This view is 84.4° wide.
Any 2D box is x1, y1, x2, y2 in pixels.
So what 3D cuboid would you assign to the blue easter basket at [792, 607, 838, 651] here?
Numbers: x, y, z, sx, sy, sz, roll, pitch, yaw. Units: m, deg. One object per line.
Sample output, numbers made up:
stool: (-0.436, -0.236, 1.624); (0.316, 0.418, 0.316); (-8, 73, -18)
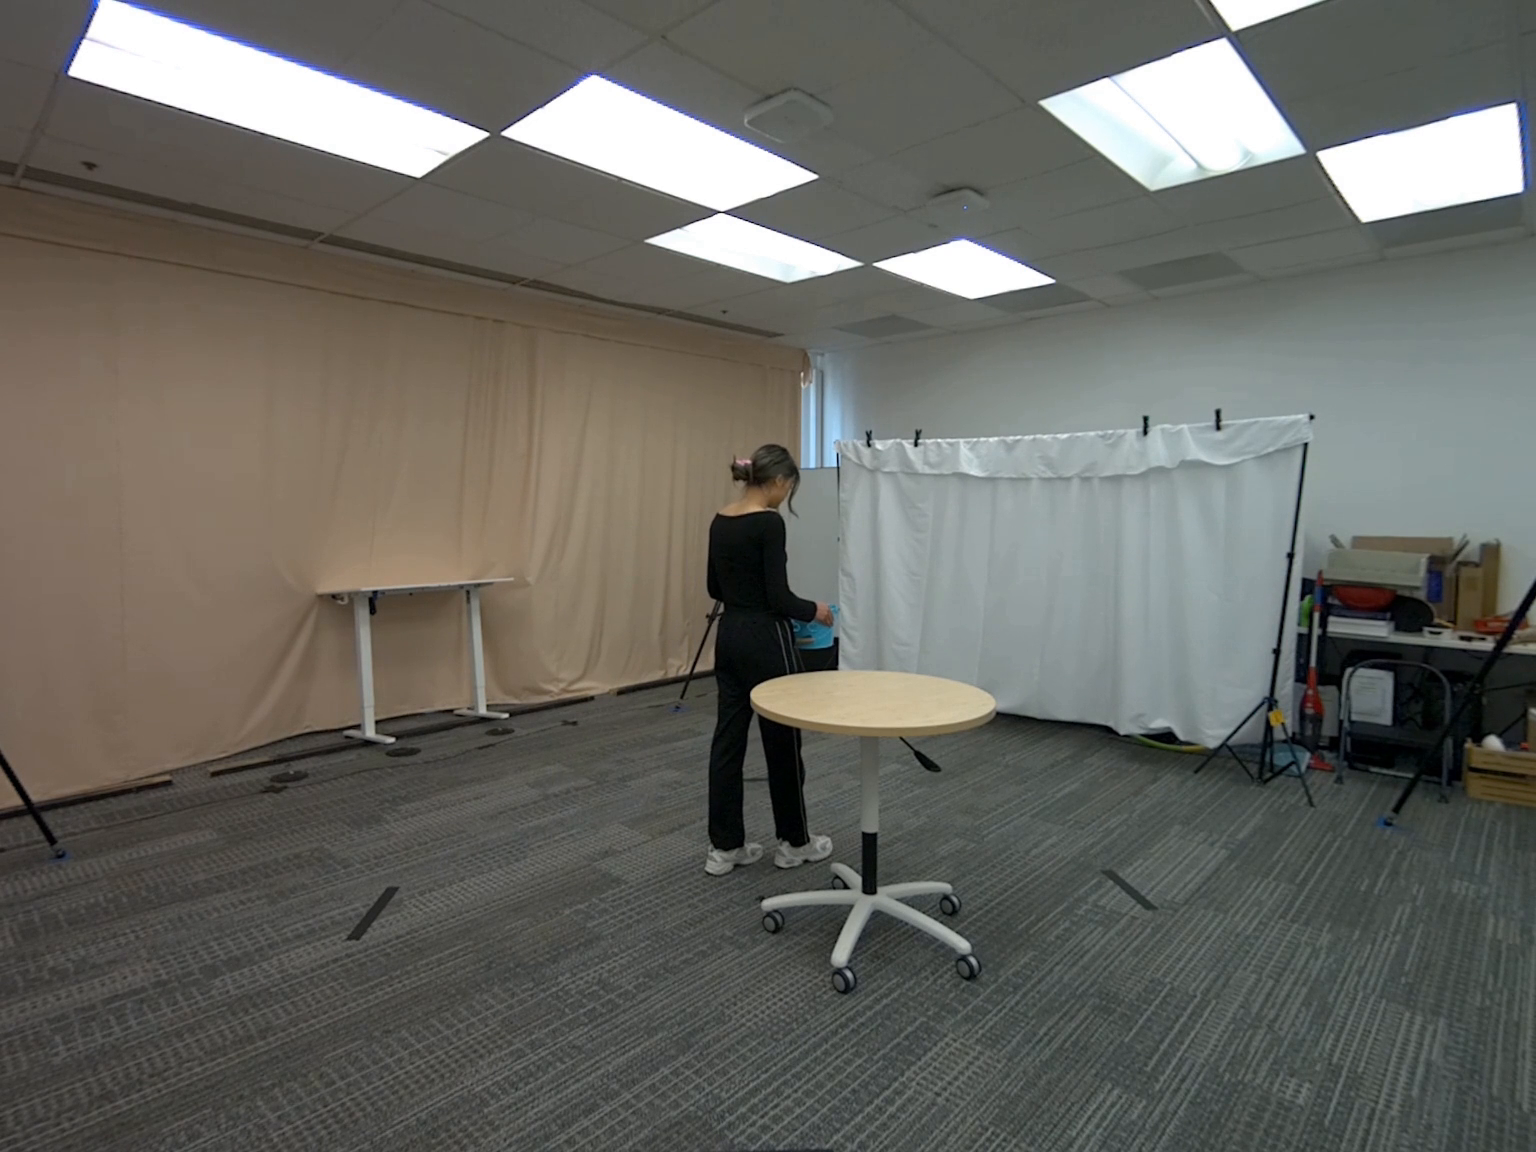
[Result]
blue easter basket: (0.163, 0.212, 3.413); (0.243, 0.155, 0.244); (-1, 5, -2)
